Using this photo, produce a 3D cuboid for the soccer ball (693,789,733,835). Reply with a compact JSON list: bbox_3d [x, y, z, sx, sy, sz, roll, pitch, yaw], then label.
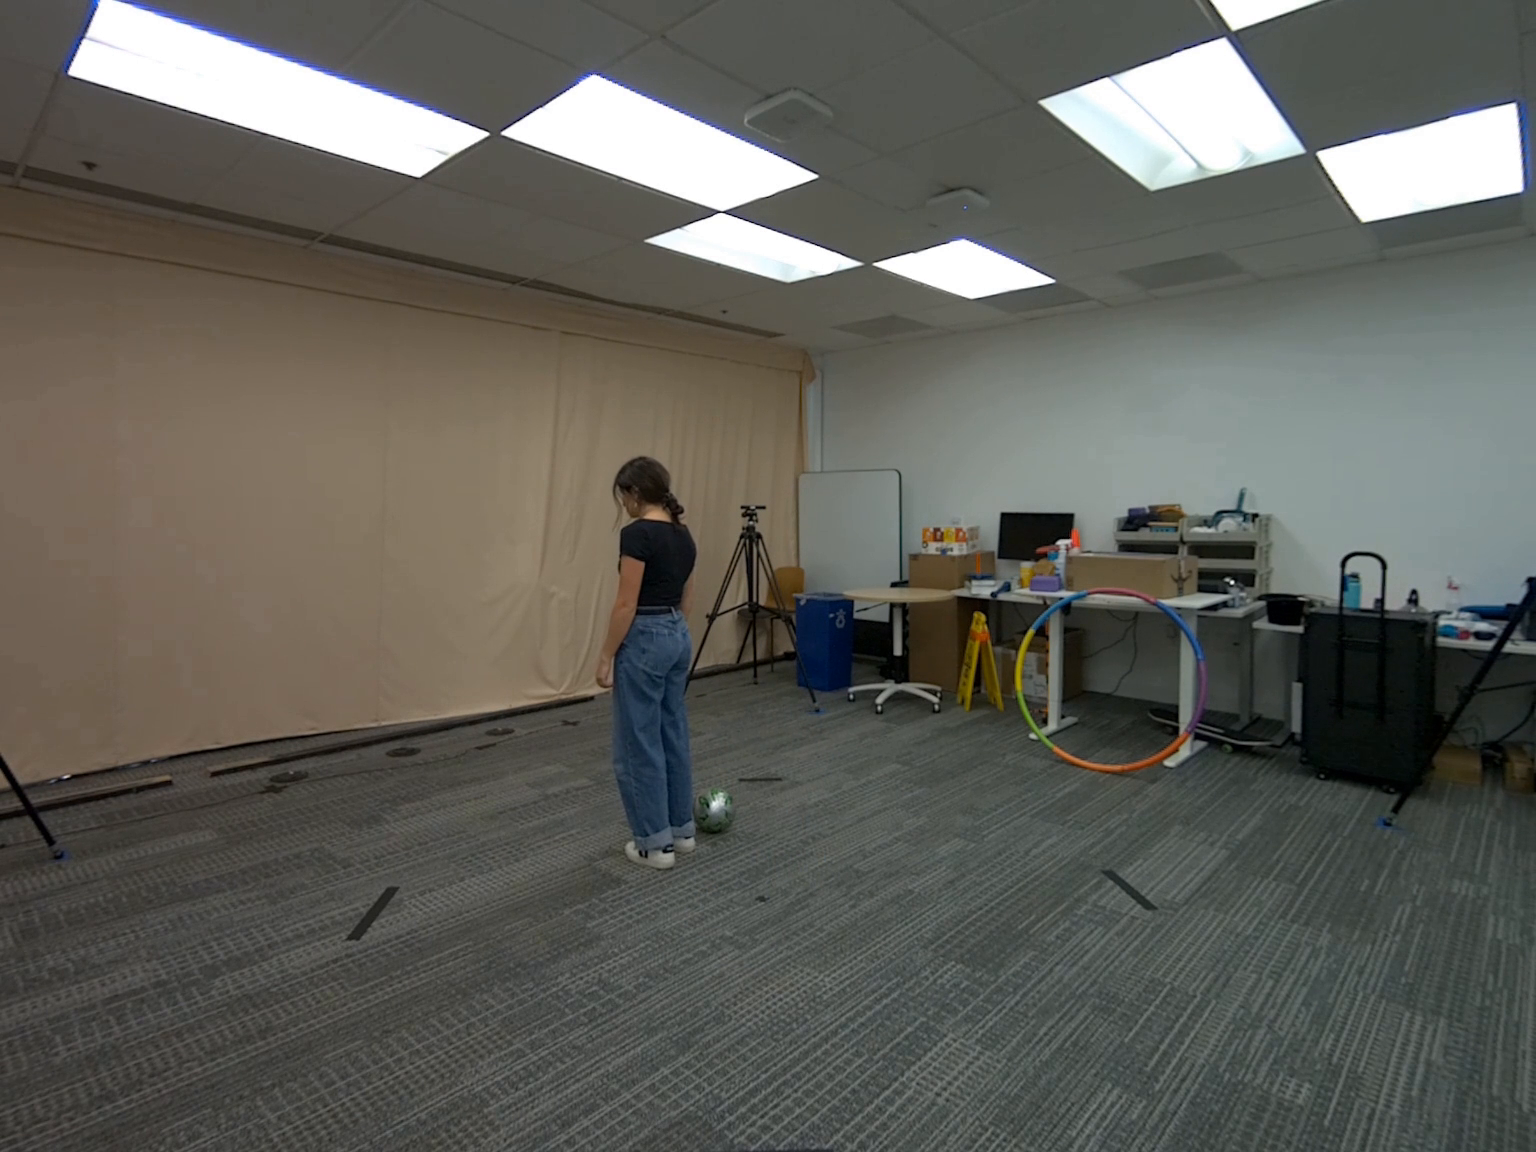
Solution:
[{"bbox_3d":[-0.225,1.004,3.601,0.187,0.187,0.188,0,4,-2],"label":"soccer ball"}]
